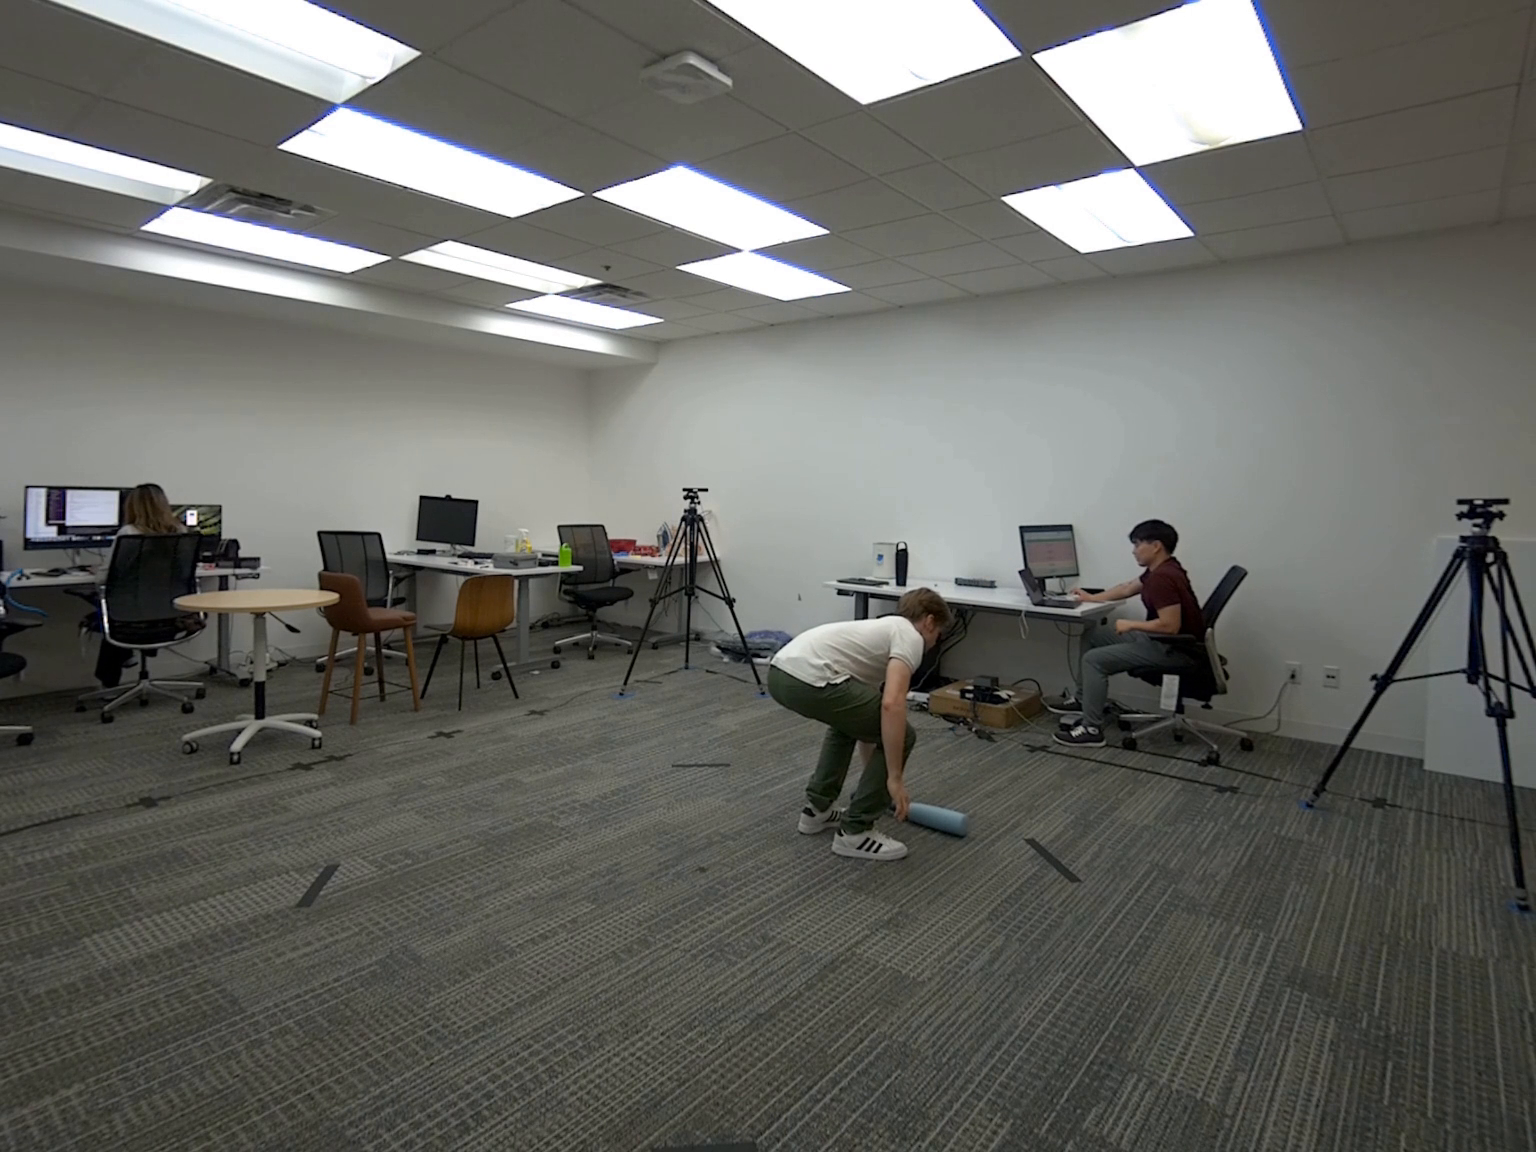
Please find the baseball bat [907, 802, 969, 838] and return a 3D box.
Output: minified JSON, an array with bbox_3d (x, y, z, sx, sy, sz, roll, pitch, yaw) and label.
[{"bbox_3d":[0.582,0.996,3.627,0.561,0.089,0.086,4,5,41],"label":"baseball bat"}]
